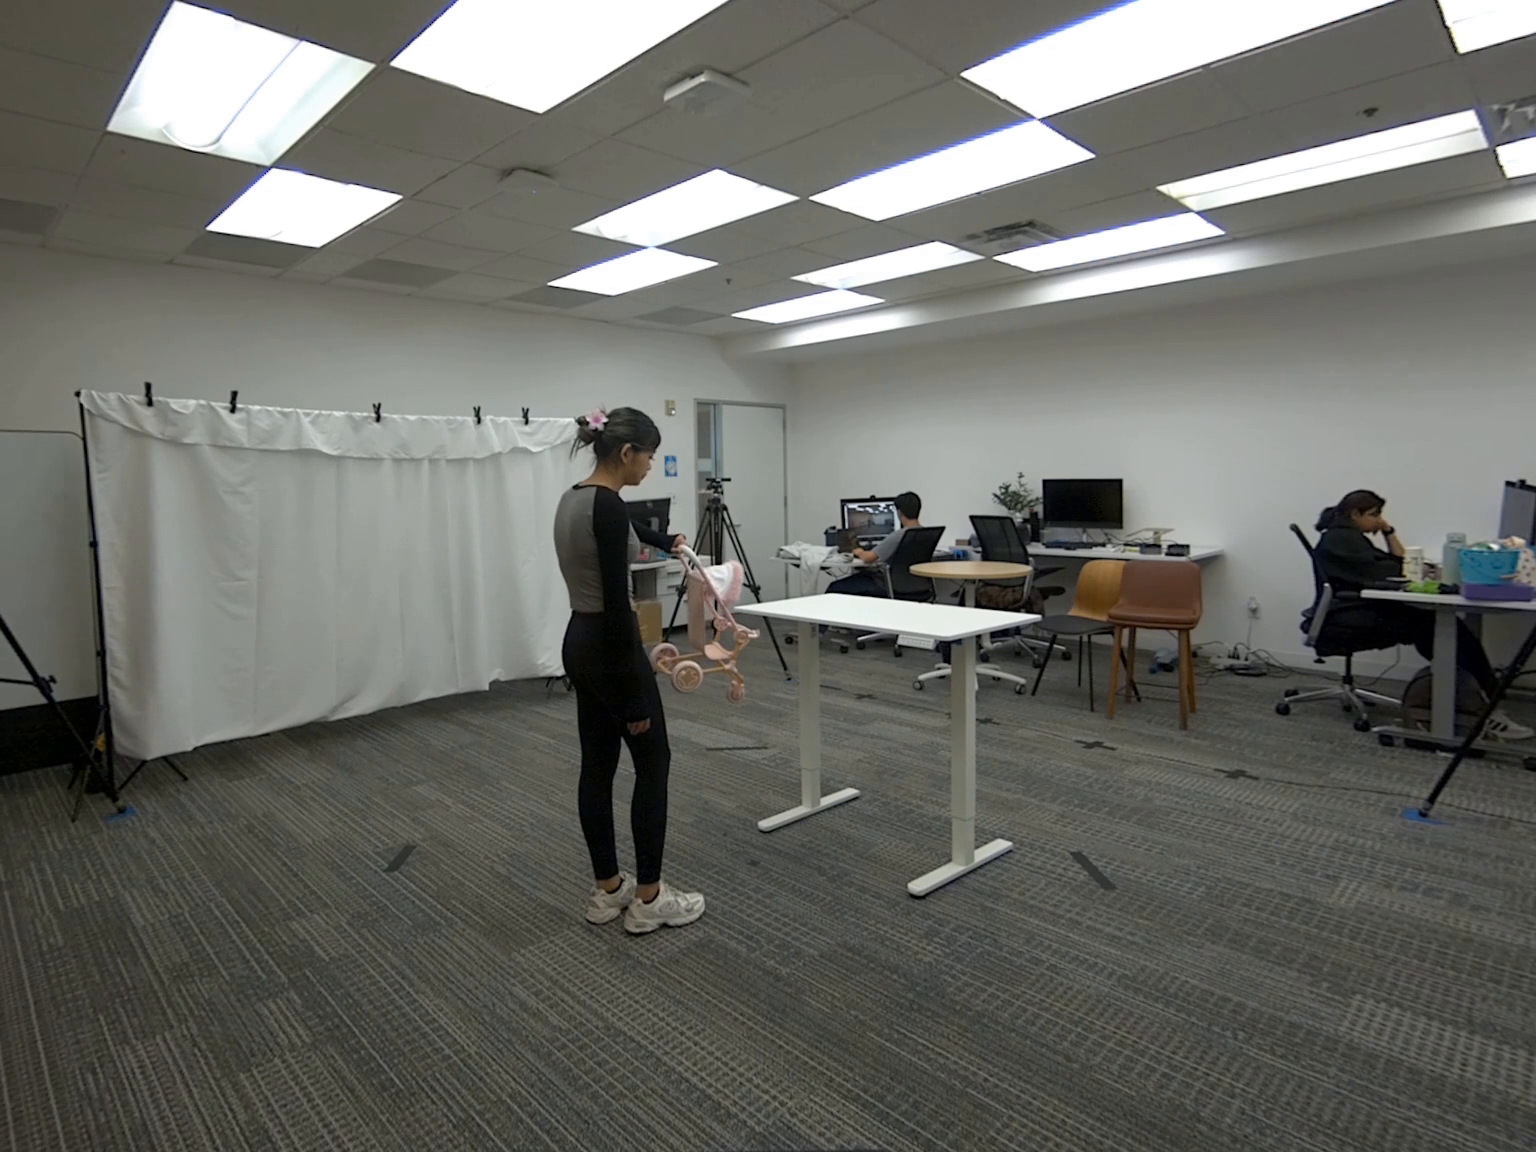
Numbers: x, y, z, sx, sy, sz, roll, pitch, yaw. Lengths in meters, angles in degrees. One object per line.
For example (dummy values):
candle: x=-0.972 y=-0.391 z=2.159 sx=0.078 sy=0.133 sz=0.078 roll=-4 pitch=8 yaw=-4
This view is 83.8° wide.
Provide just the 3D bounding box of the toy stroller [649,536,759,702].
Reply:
toy stroller: x=-0.188 y=0.174 z=2.971 sx=0.335 sy=0.534 sz=0.288 roll=8 pitch=3 yaw=-20
